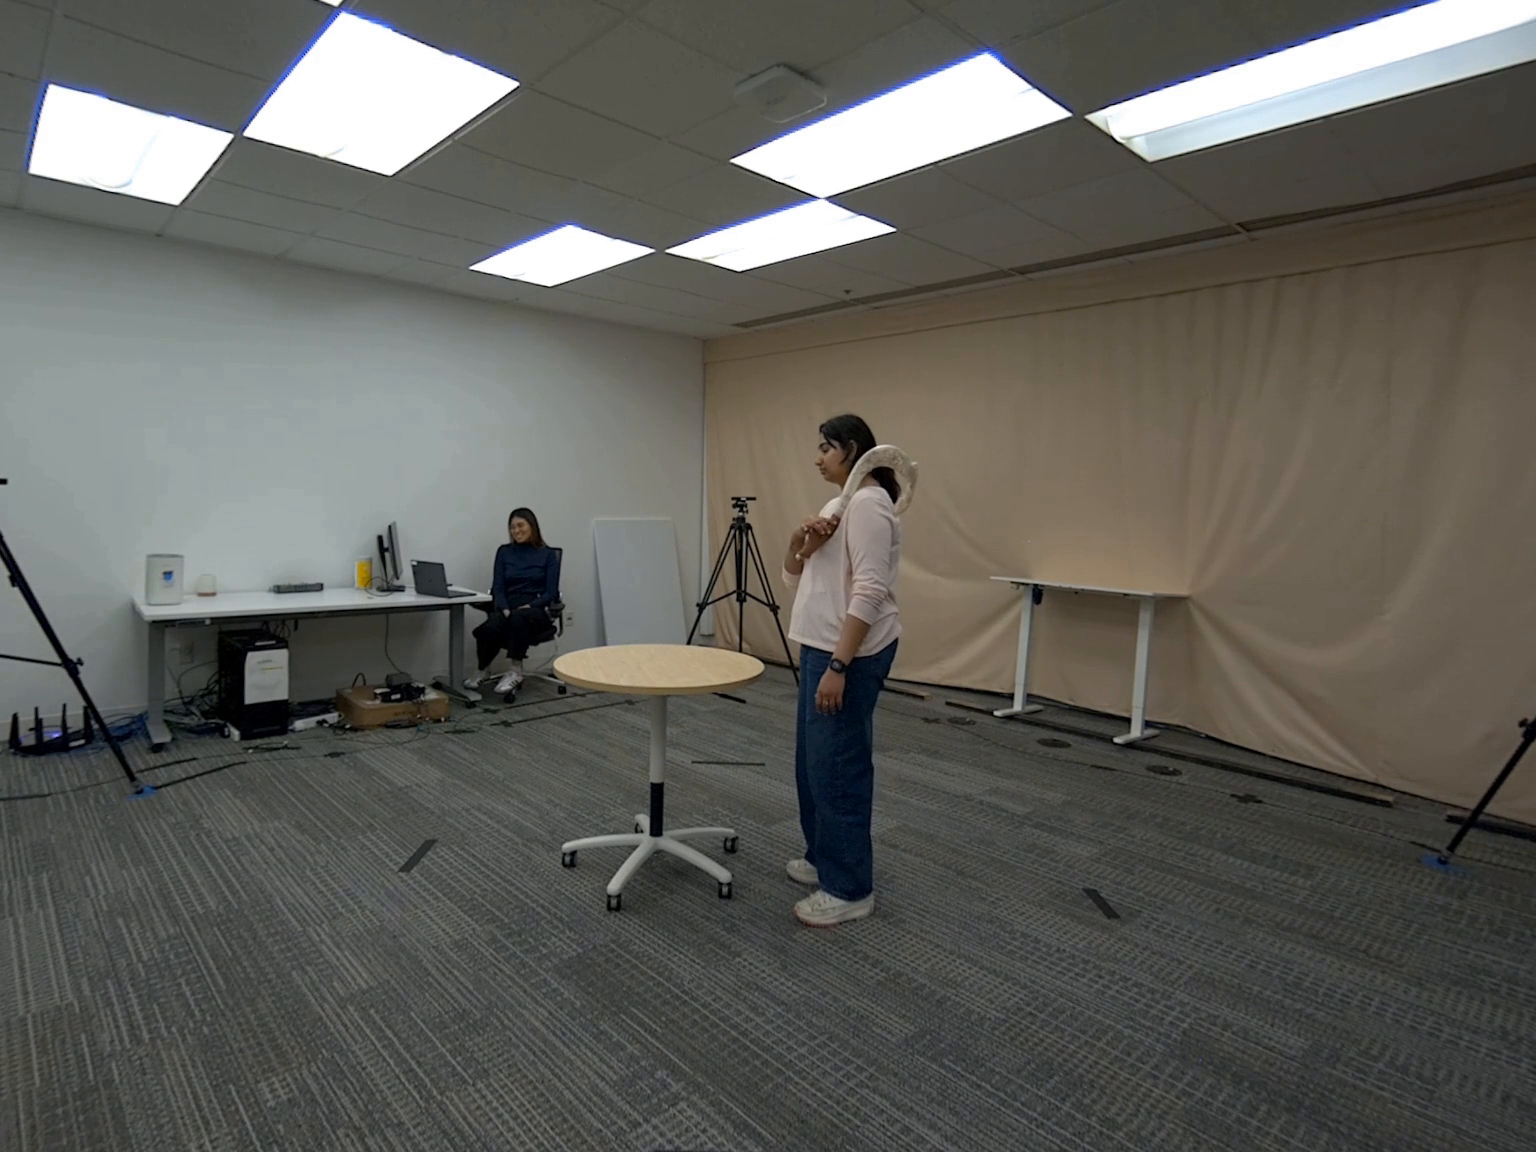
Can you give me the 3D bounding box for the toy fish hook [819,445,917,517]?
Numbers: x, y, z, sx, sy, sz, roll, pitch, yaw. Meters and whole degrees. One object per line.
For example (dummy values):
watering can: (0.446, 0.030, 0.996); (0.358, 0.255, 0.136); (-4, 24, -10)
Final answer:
toy fish hook: (0.295, -0.206, 2.816); (0.224, 0.506, 0.048); (39, 1, 0)
